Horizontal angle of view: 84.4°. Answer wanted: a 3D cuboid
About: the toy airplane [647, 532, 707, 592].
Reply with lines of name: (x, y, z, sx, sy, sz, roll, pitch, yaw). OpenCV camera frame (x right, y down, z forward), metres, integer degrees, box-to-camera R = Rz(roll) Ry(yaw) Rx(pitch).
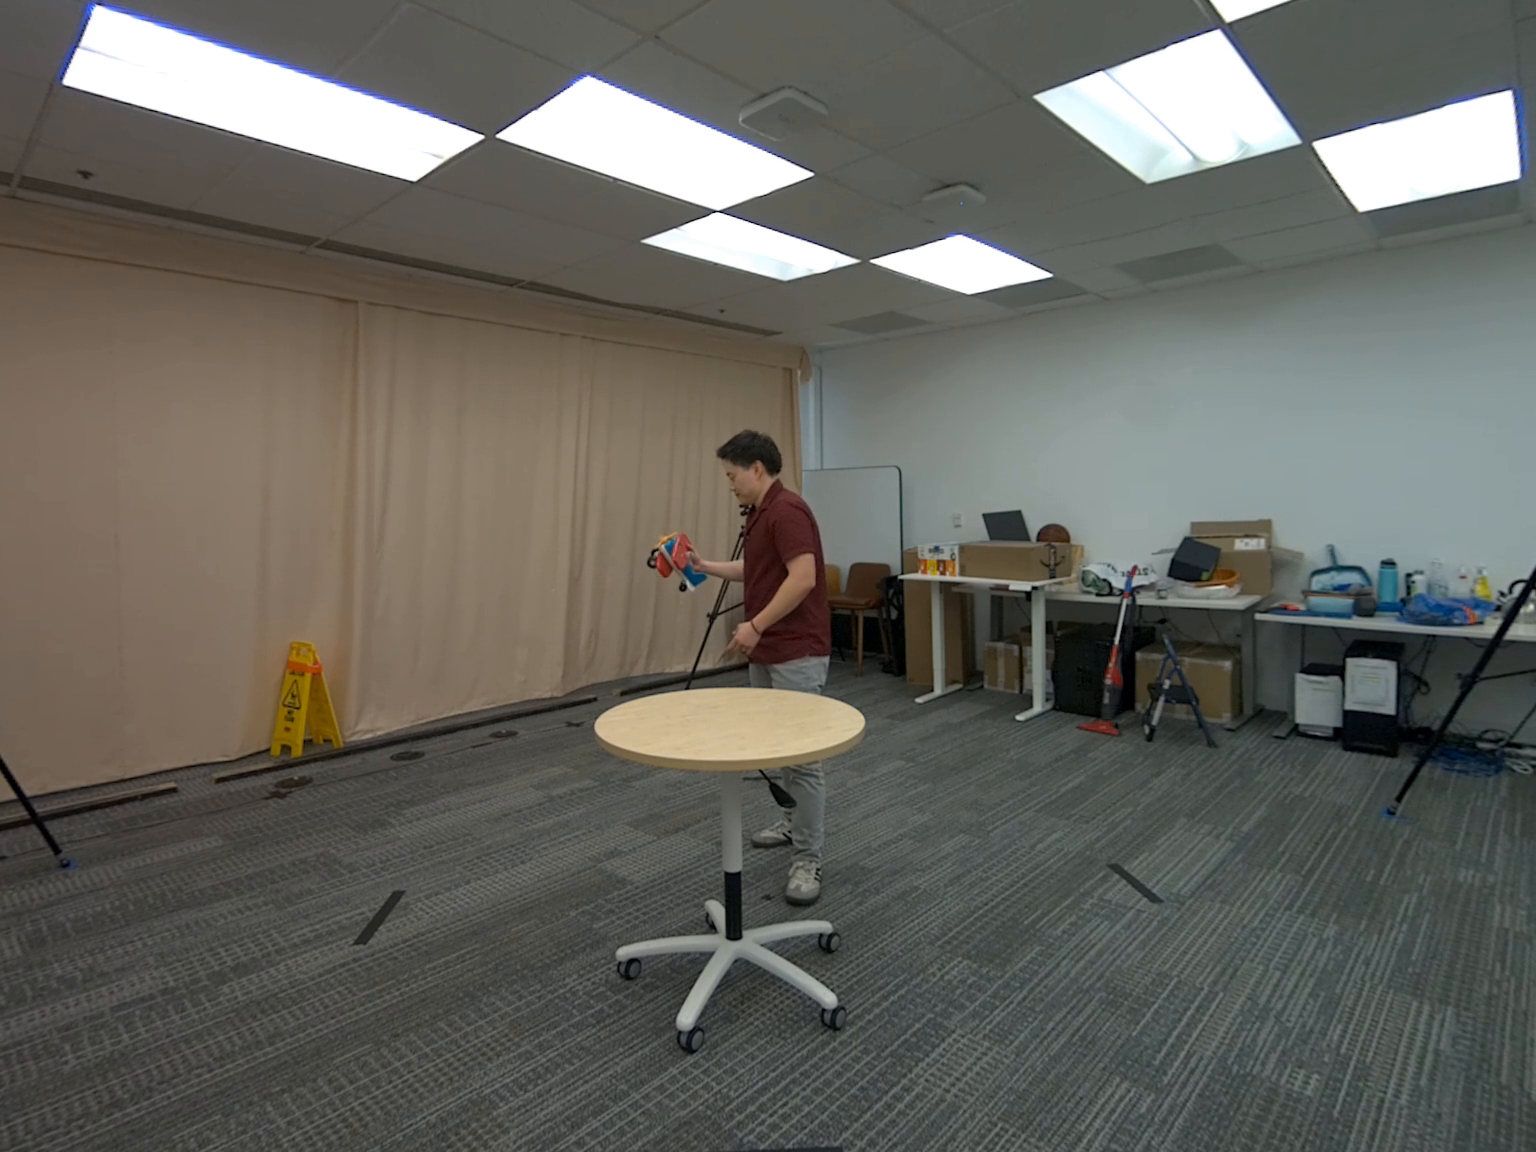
toy airplane: (-0.384, -0.057, 3.590, 0.158, 0.258, 0.250, -41, -46, 24)
